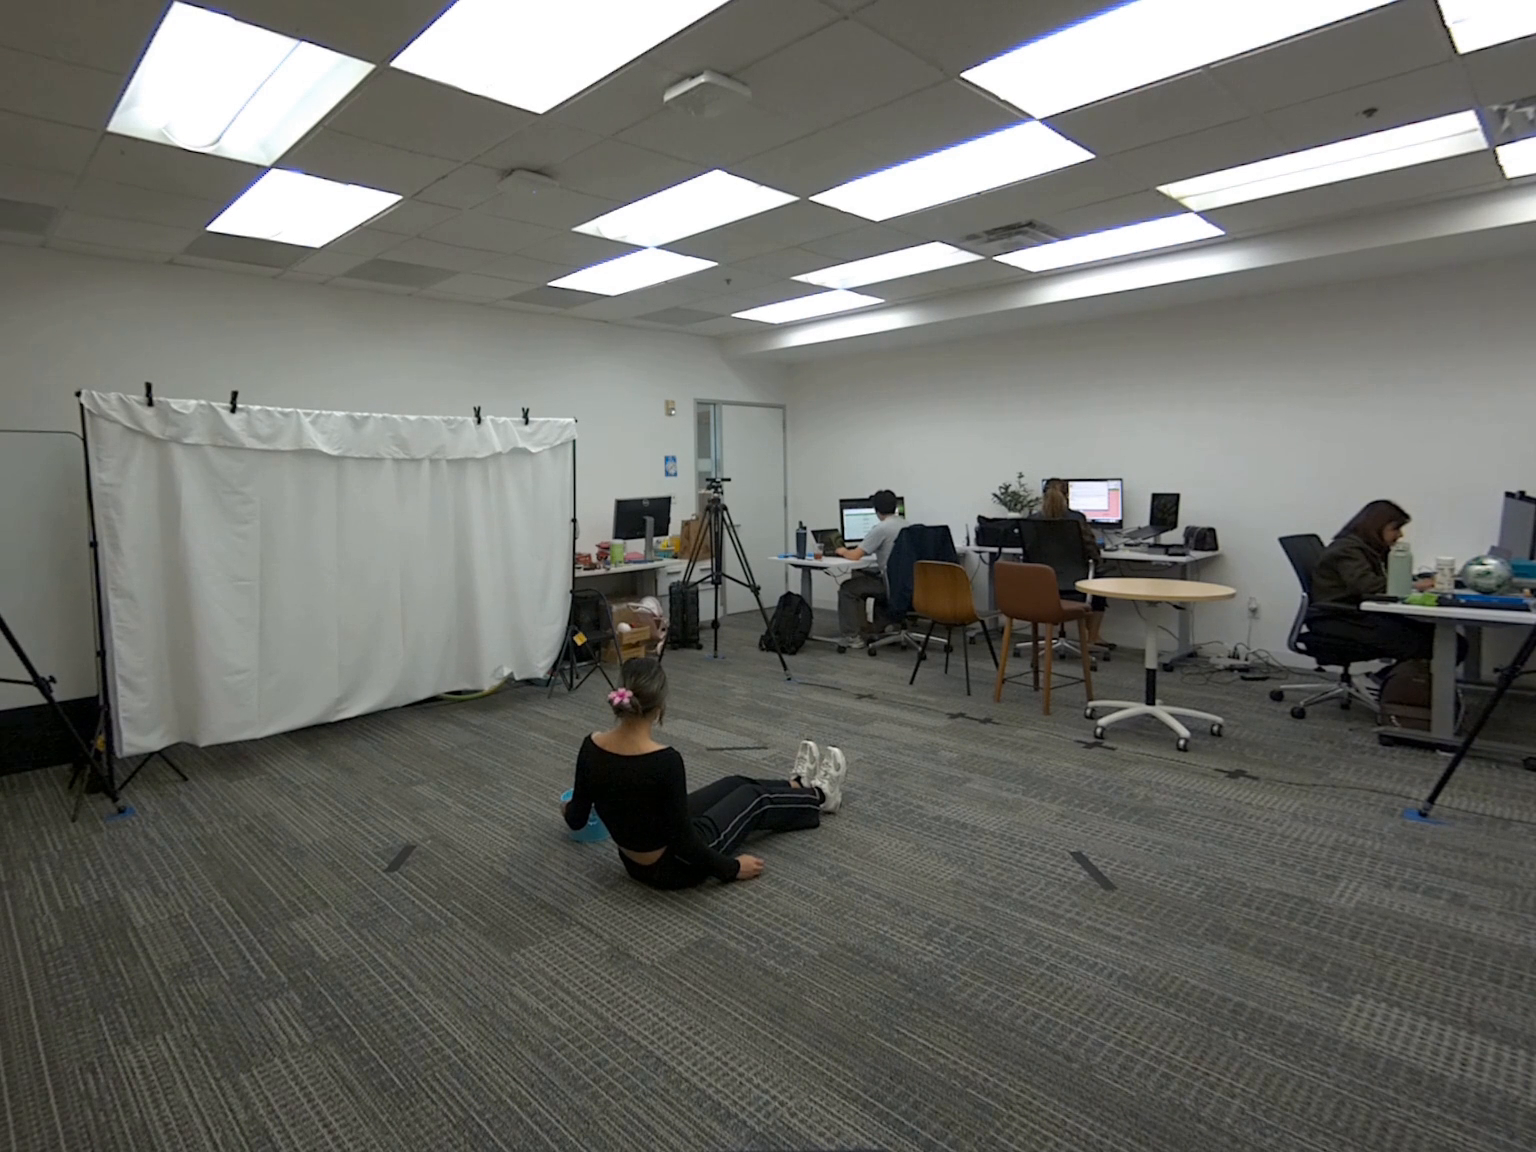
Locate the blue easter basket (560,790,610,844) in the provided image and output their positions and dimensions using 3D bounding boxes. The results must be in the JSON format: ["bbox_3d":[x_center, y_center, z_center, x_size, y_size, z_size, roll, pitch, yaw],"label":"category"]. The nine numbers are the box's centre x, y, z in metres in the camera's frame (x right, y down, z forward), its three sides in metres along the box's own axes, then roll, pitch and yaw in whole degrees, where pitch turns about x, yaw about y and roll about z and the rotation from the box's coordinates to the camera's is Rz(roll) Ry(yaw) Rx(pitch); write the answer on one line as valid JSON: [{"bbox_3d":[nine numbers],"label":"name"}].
[{"bbox_3d":[-0.687,0.941,3.398,0.243,0.155,0.245,-2,5,-2],"label":"blue easter basket"}]
